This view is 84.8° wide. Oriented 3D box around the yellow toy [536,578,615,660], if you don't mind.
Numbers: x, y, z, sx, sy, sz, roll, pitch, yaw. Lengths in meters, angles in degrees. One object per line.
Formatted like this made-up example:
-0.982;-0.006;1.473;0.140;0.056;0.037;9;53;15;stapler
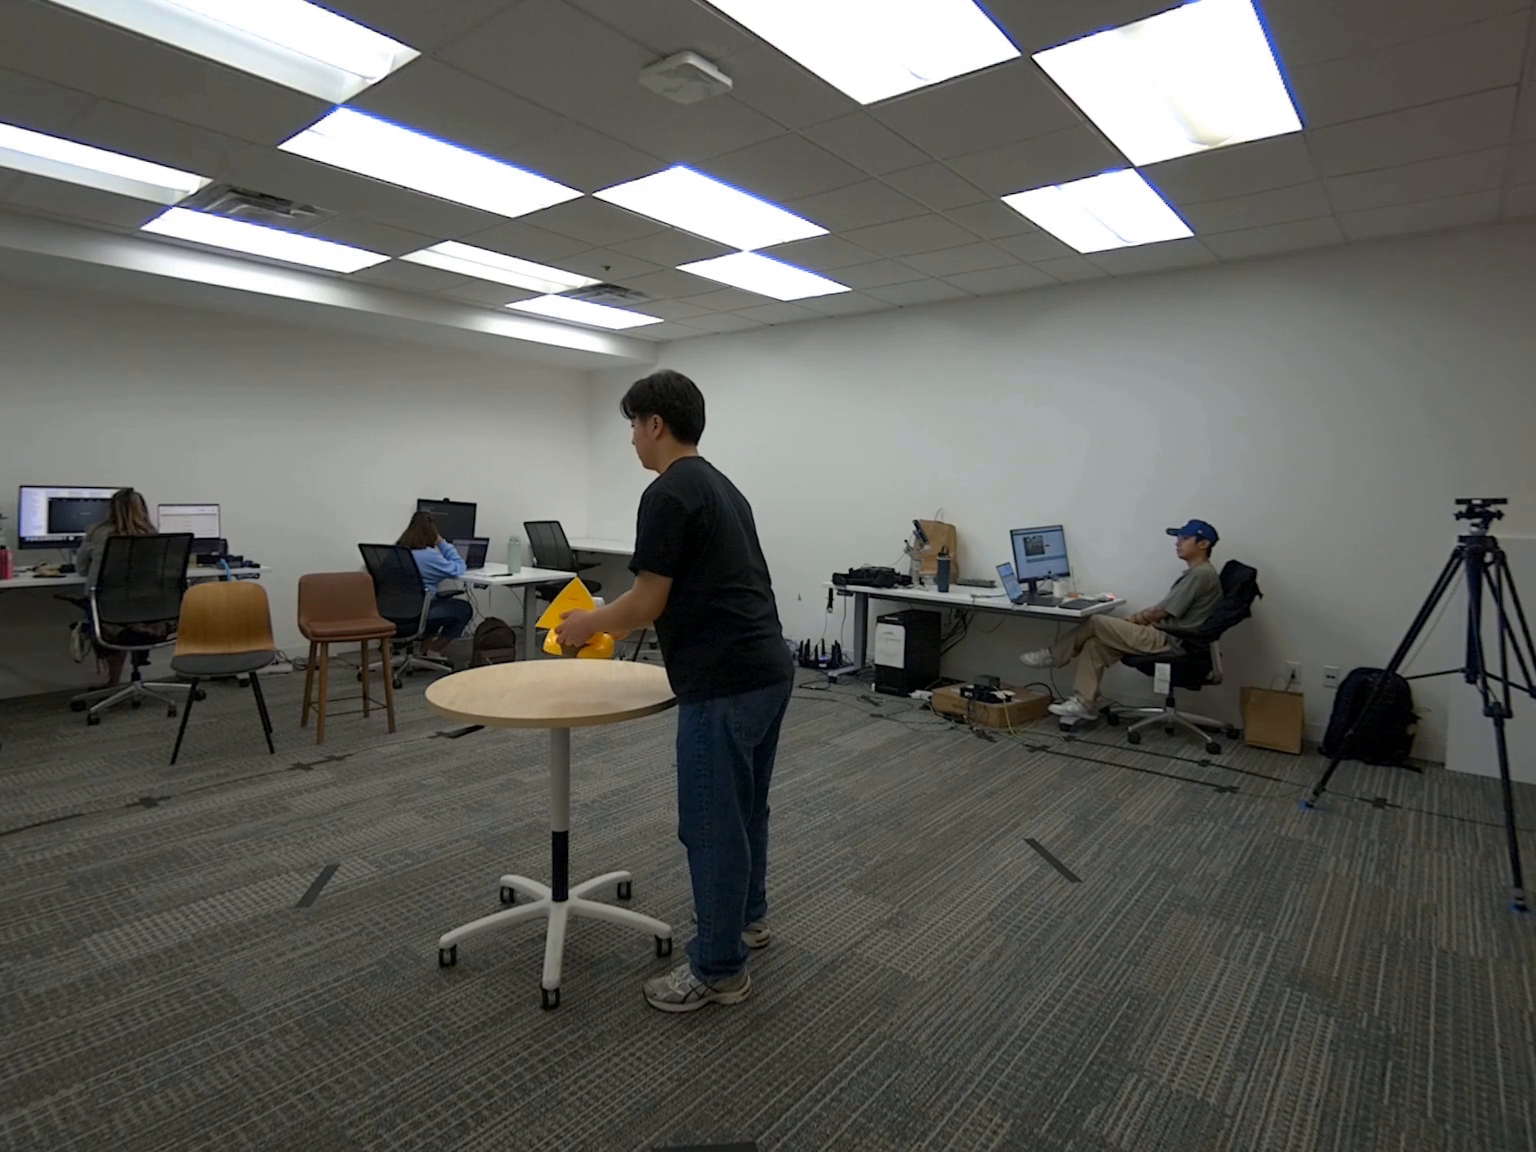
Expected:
-0.560;0.108;2.492;0.207;0.229;0.192;7;8;10;yellow toy
